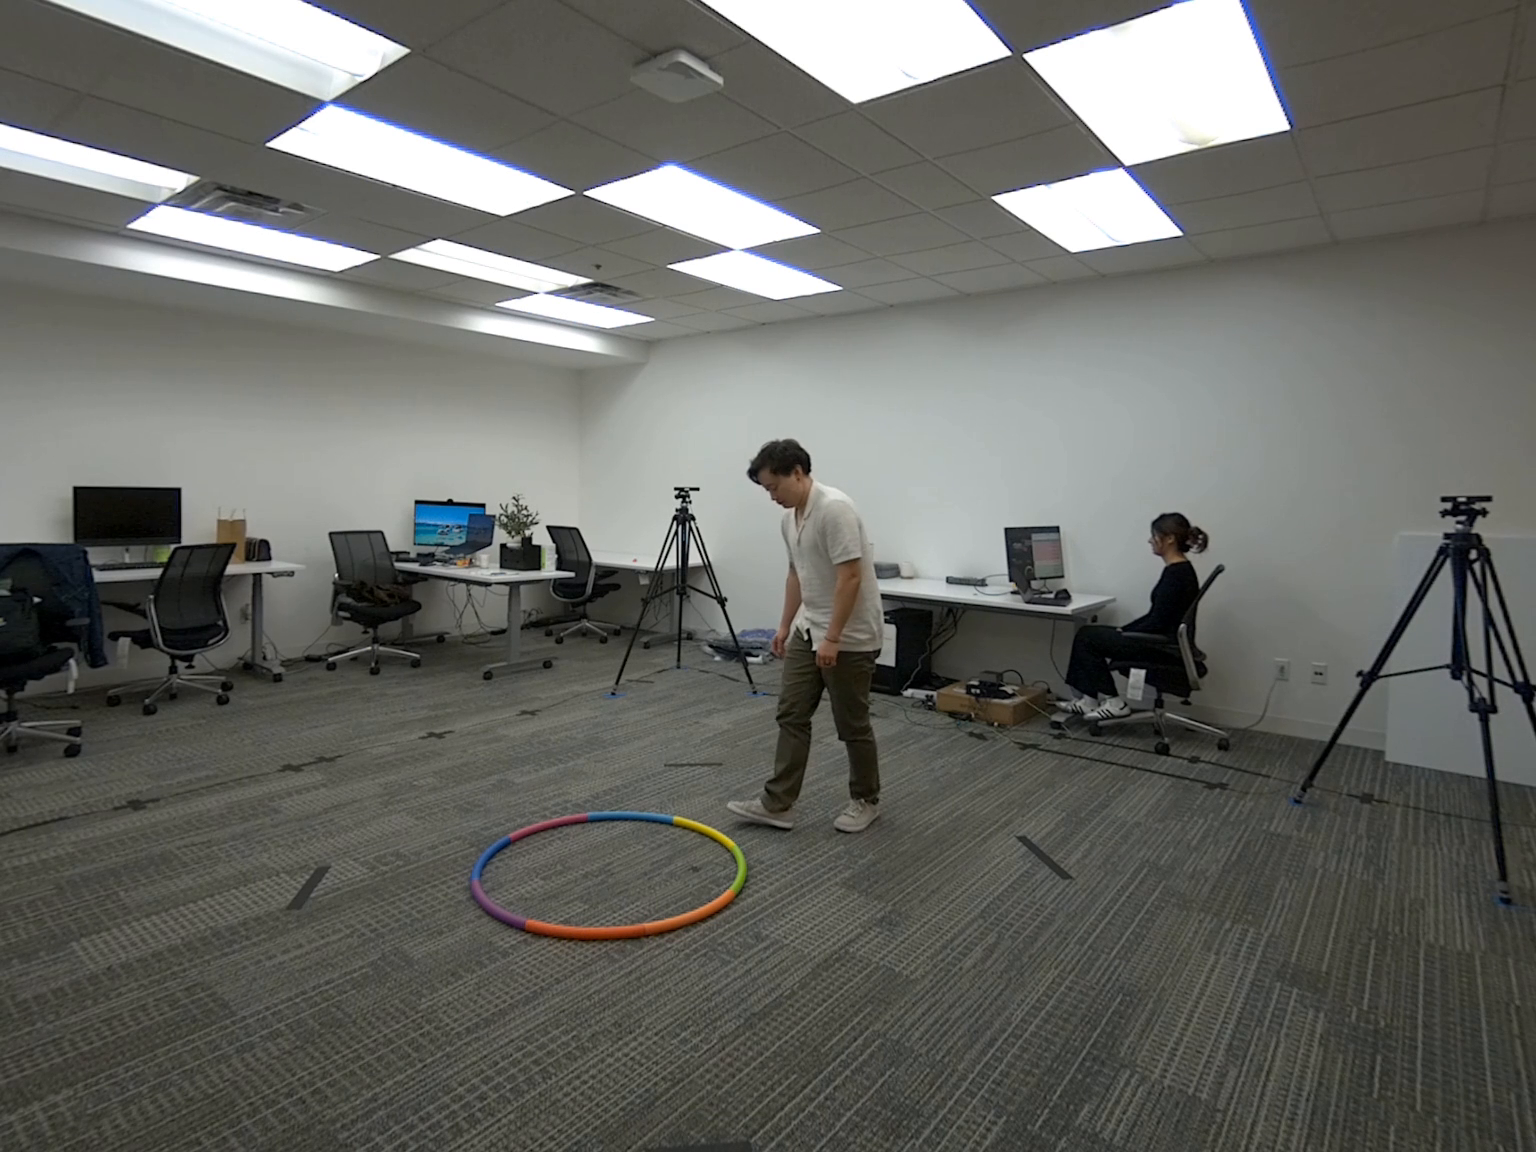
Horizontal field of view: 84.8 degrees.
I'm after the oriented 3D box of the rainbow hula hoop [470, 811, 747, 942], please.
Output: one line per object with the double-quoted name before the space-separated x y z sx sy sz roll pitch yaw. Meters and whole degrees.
"rainbow hula hoop" -0.572 1.035 3.081 0.978 0.035 0.984 1 5 -2
